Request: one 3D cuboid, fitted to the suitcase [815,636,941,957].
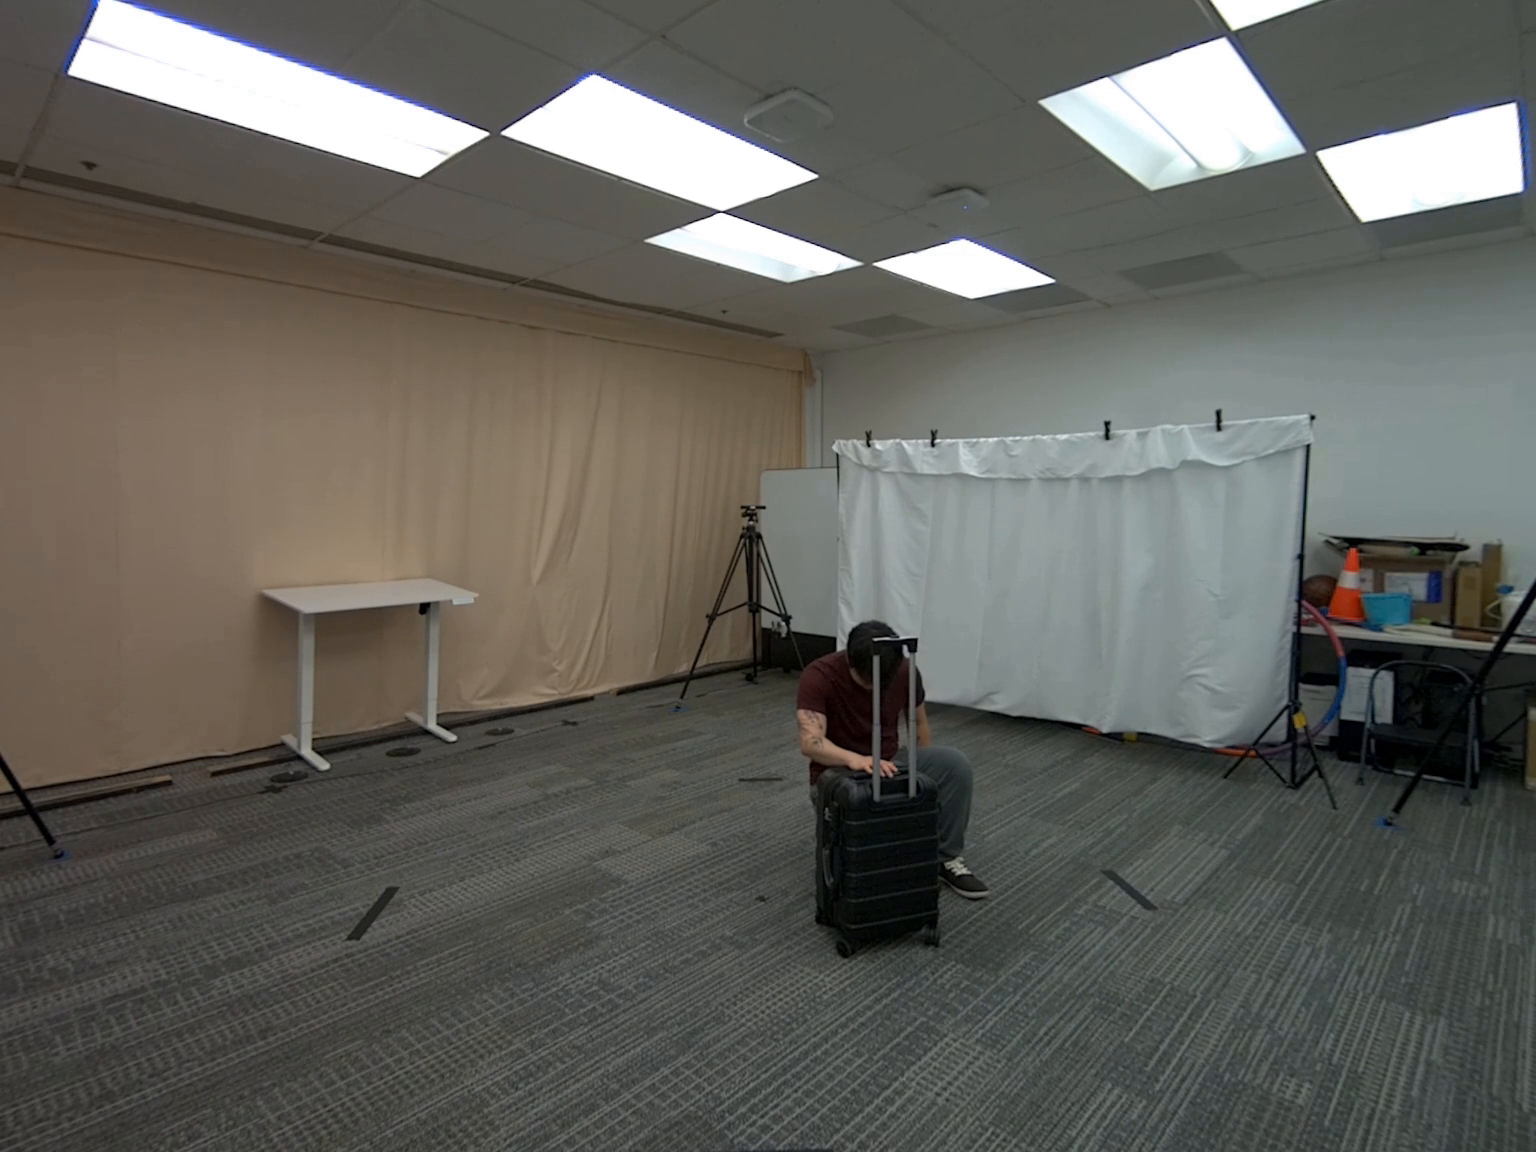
[{"bbox_3d":[0.350,0.684,2.718,0.377,0.977,0.262,0,2,-17],"label":"suitcase"}]
